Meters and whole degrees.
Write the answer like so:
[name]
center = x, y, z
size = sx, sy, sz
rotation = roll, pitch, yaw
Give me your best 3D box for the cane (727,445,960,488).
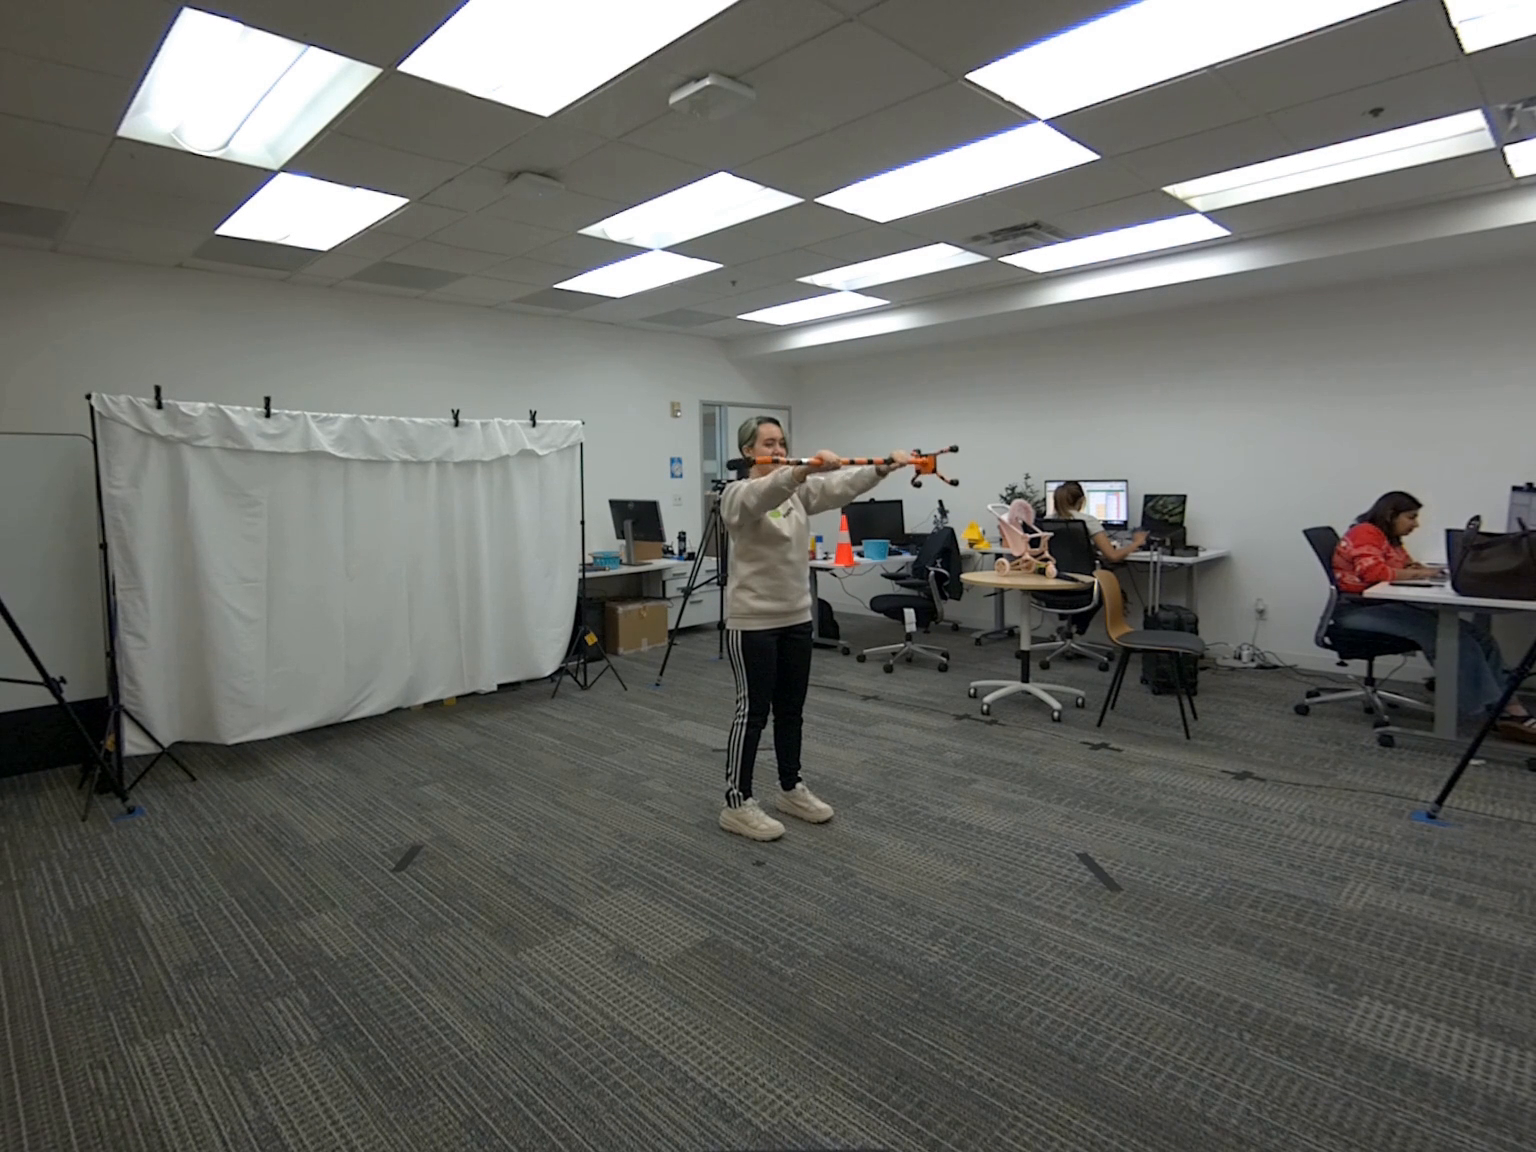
[cane]
center = 0.279, -0.375, 2.940
size = 0.885, 0.151, 0.212
rotation = -6, 5, -36
